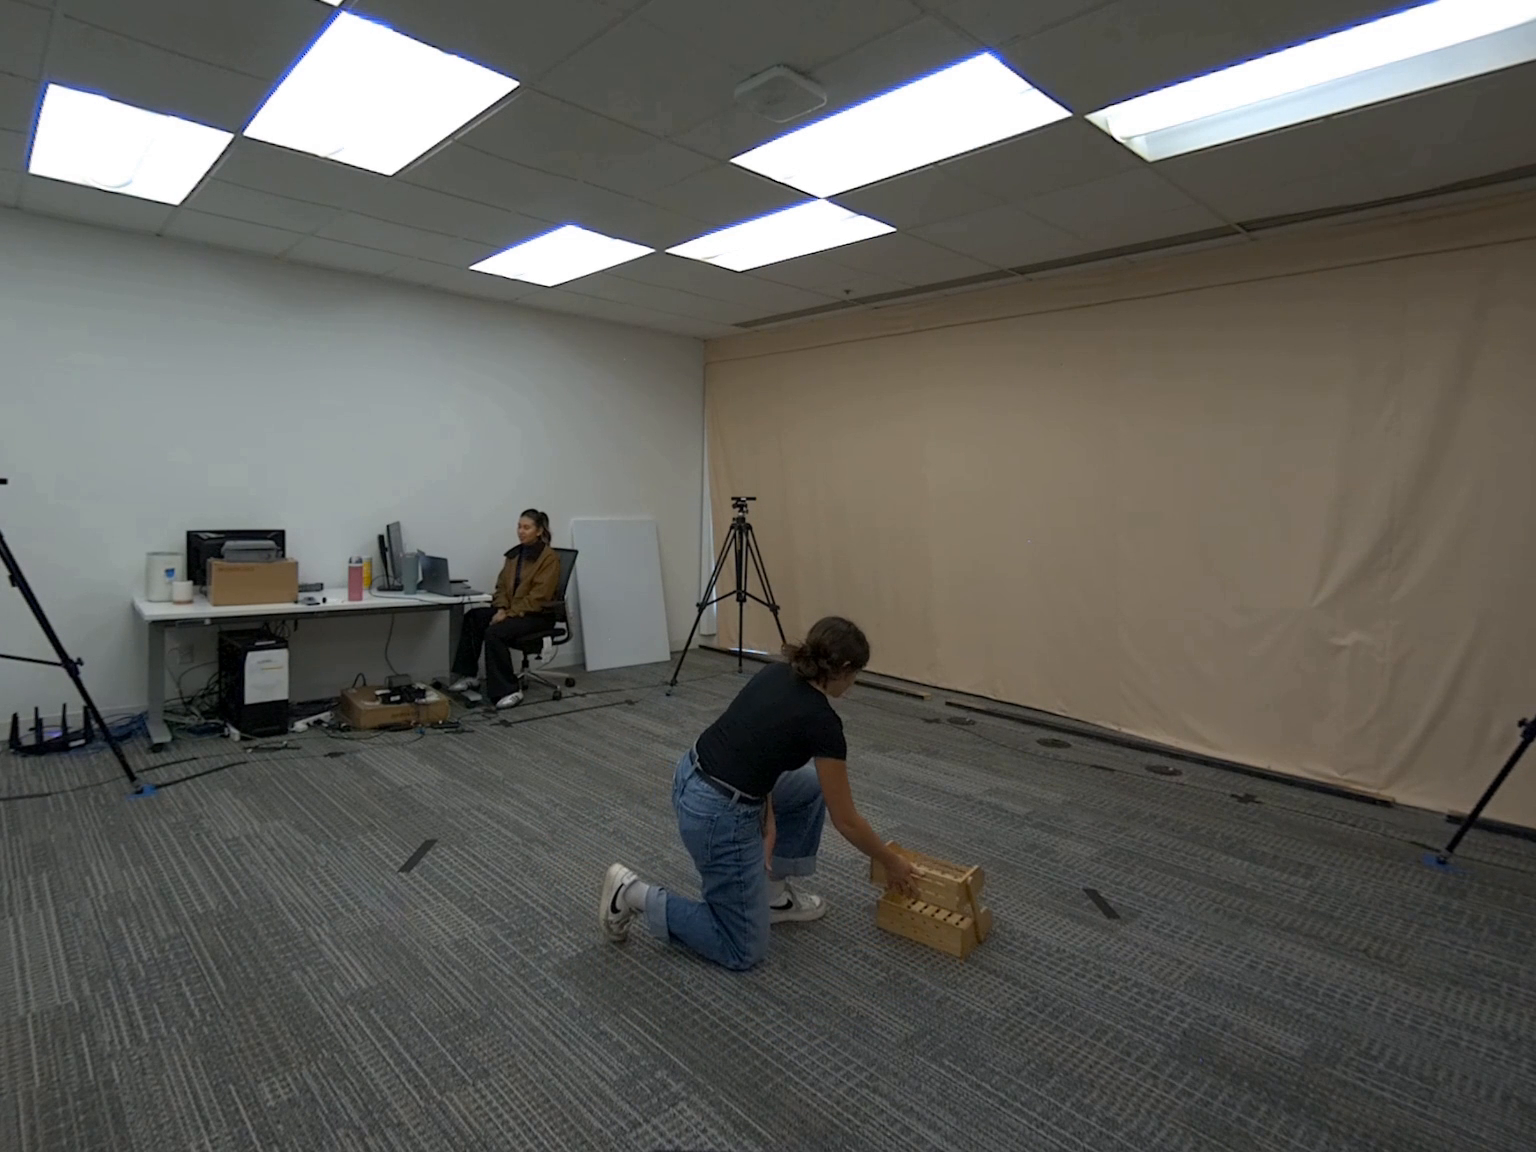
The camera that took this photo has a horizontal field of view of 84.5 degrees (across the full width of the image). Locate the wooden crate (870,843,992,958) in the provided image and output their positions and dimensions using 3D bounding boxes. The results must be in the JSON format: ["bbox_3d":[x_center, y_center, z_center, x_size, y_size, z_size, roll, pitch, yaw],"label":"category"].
[{"bbox_3d":[0.533,1.022,2.741,0.332,0.272,0.296,5,6,36],"label":"wooden crate"}]
